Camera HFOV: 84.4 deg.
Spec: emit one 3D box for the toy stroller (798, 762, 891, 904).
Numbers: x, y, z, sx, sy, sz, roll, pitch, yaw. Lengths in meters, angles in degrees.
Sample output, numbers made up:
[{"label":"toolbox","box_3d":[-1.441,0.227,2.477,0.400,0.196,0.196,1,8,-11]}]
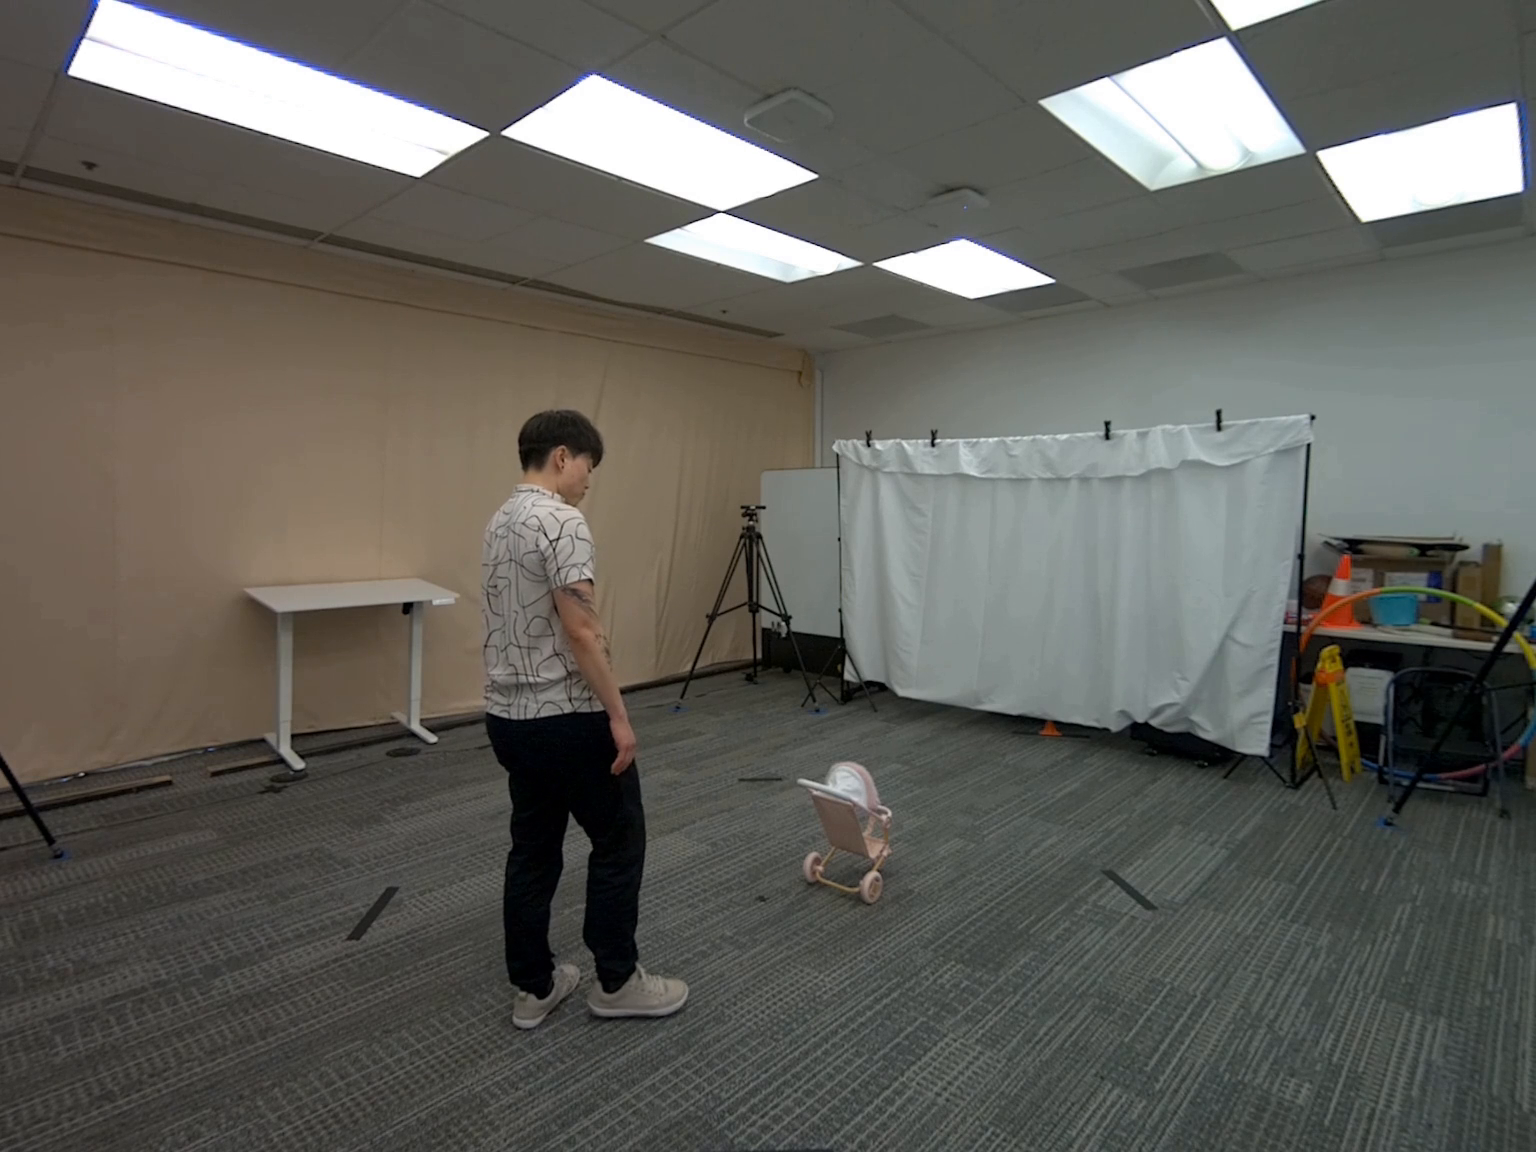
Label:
[{"label":"toy stroller","box_3d":[0.310,0.910,3.067,0.291,0.529,0.334,4,20,43]}]
